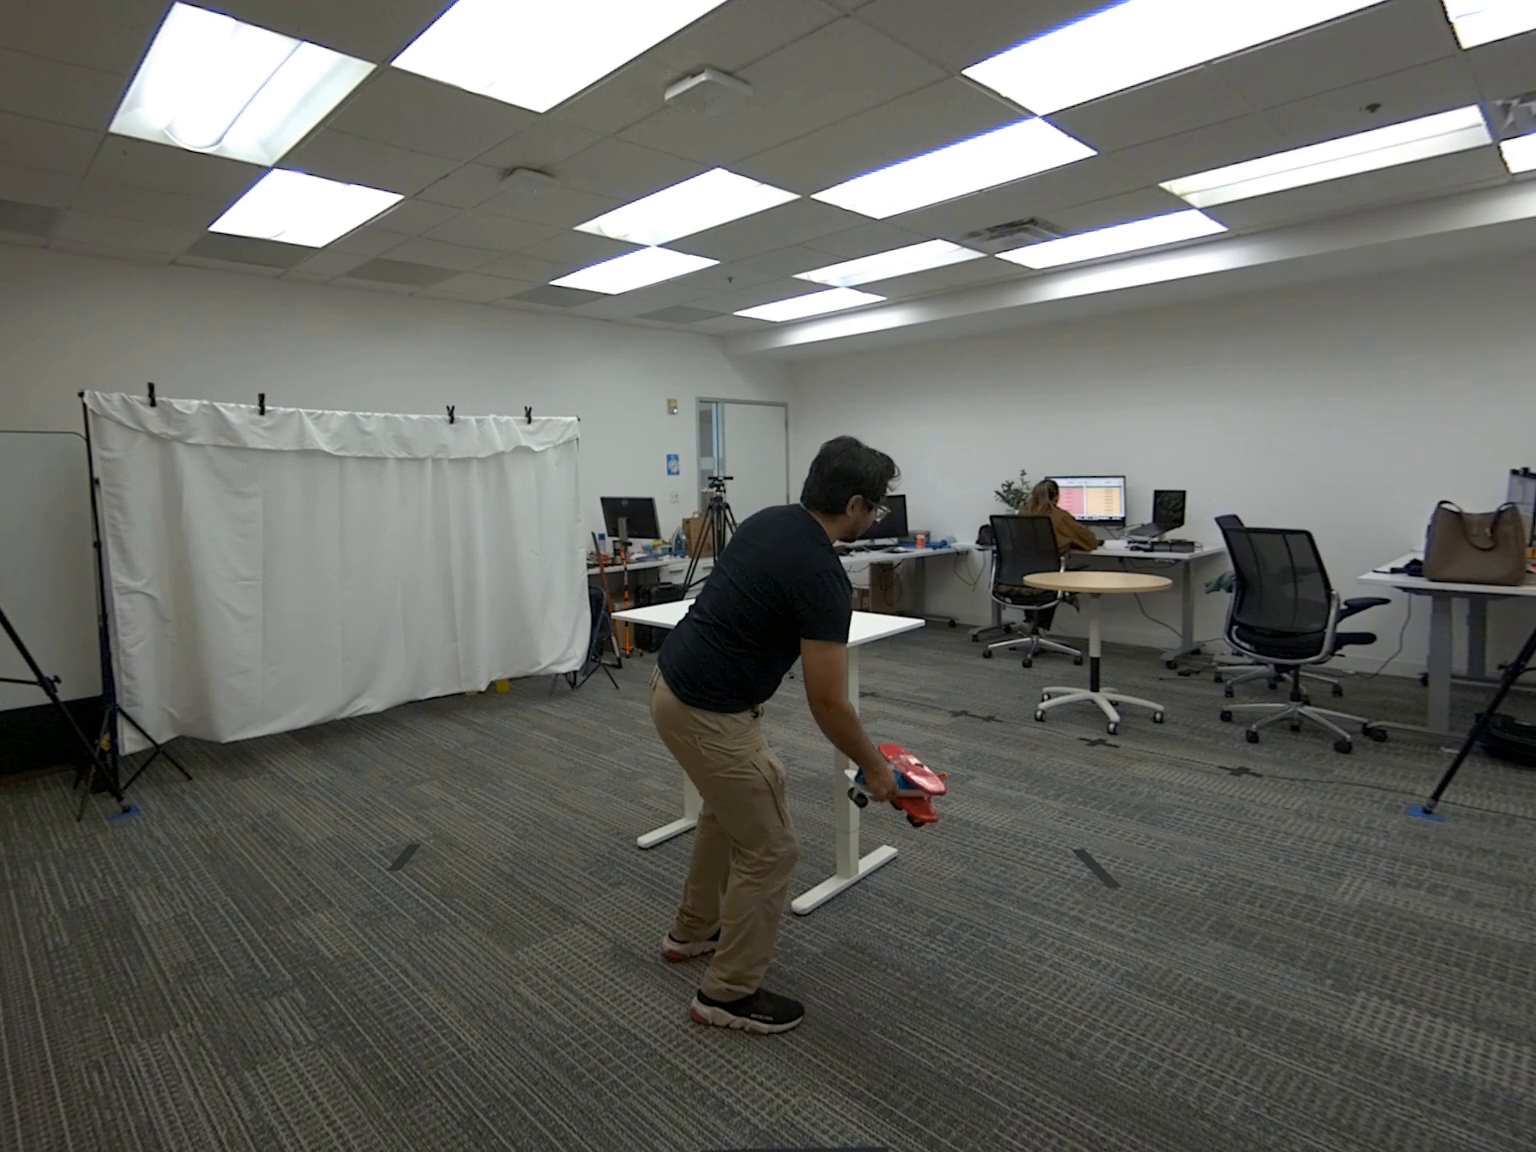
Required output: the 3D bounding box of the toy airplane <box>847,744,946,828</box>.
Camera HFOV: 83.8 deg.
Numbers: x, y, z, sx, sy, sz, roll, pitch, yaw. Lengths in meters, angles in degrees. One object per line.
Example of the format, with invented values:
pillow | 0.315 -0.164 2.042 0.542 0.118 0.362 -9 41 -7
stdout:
toy airplane | 0.338 0.563 2.260 0.260 0.156 0.251 29 7 31
